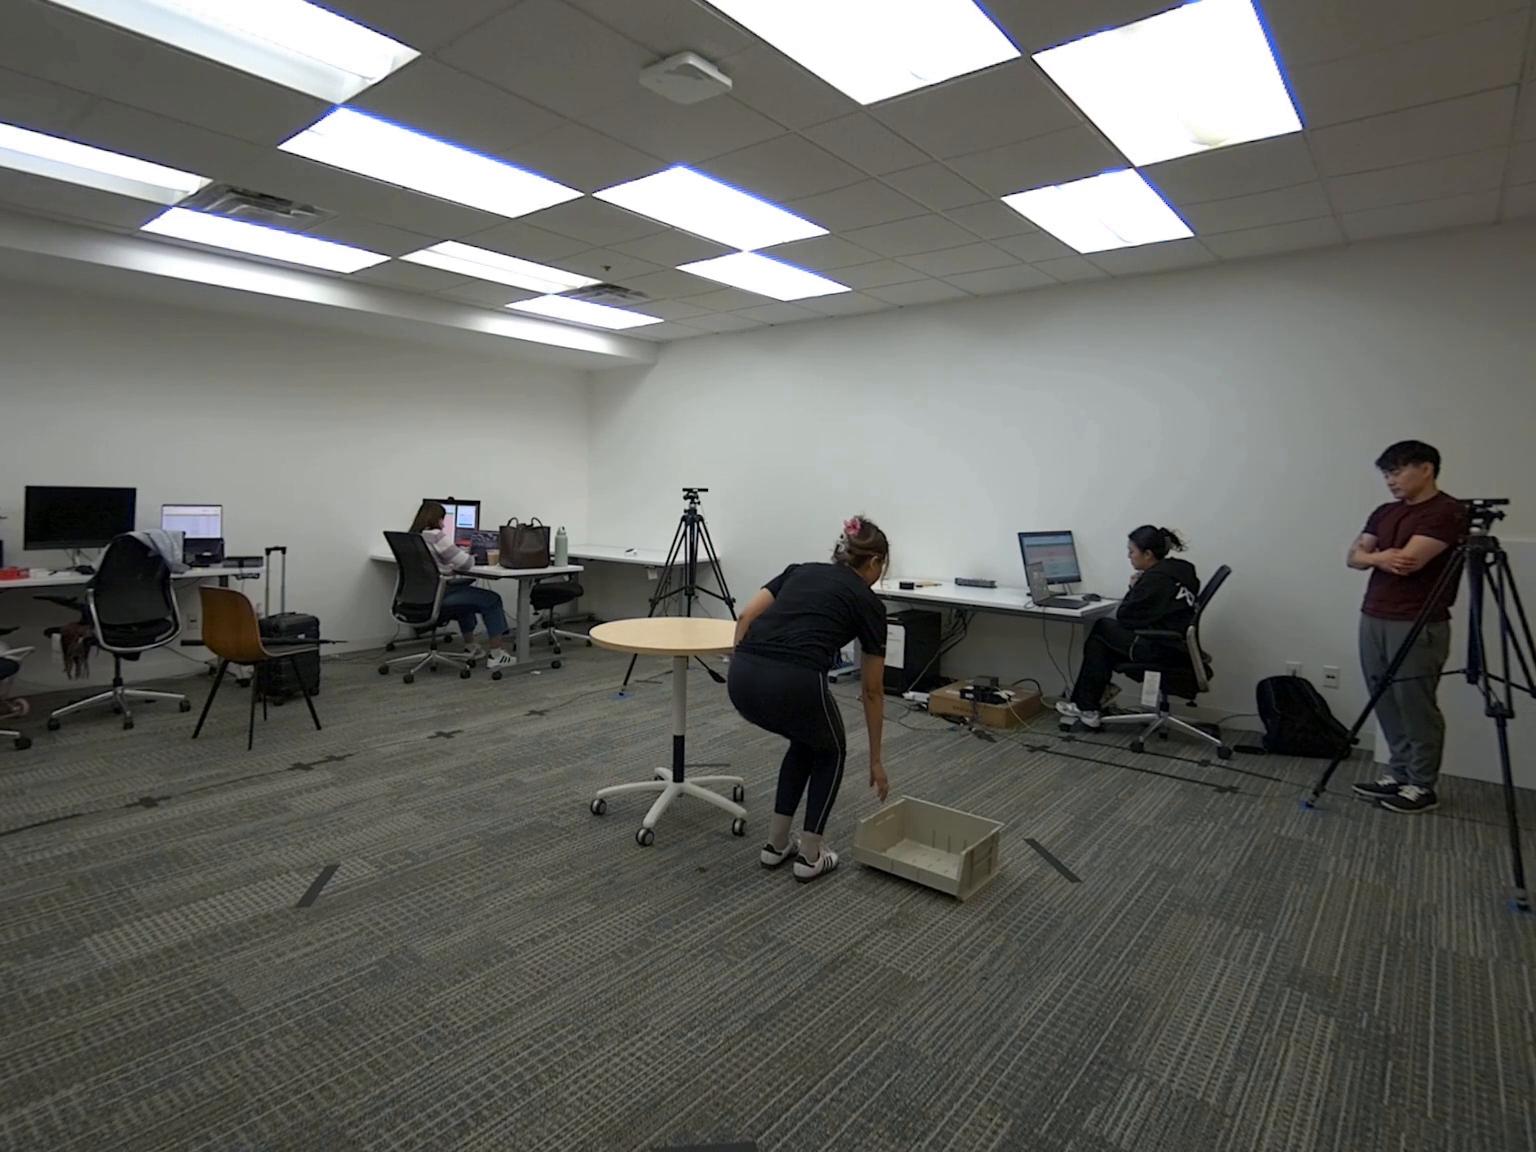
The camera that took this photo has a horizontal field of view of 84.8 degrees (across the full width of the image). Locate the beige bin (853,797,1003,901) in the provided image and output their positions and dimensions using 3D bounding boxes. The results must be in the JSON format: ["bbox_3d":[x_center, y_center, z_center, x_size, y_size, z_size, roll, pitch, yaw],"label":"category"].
[{"bbox_3d":[0.587,0.997,3.142,0.436,0.188,0.366,4,5,38],"label":"beige bin"}]
